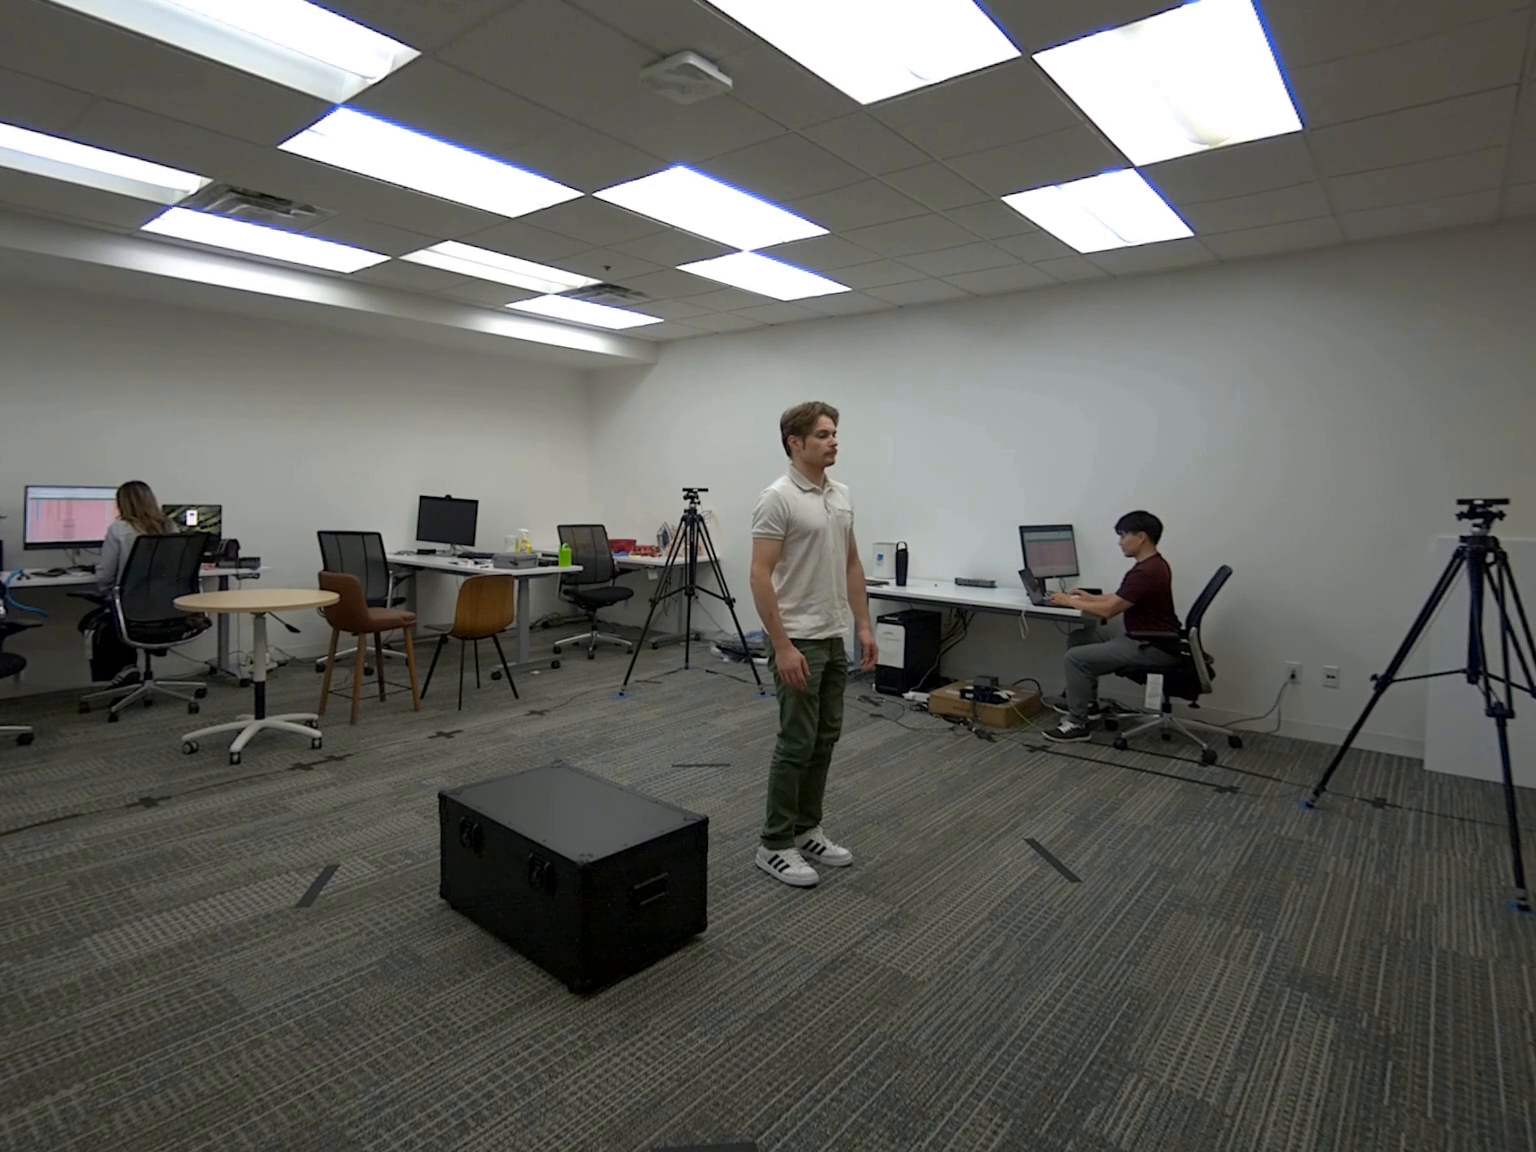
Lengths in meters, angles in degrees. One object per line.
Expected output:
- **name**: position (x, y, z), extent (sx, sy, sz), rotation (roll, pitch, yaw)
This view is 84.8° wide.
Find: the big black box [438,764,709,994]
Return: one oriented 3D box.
- **big black box**: position (-0.670, 0.902, 2.742), extent (0.898, 0.383, 0.508), rotation (6, 8, 42)
